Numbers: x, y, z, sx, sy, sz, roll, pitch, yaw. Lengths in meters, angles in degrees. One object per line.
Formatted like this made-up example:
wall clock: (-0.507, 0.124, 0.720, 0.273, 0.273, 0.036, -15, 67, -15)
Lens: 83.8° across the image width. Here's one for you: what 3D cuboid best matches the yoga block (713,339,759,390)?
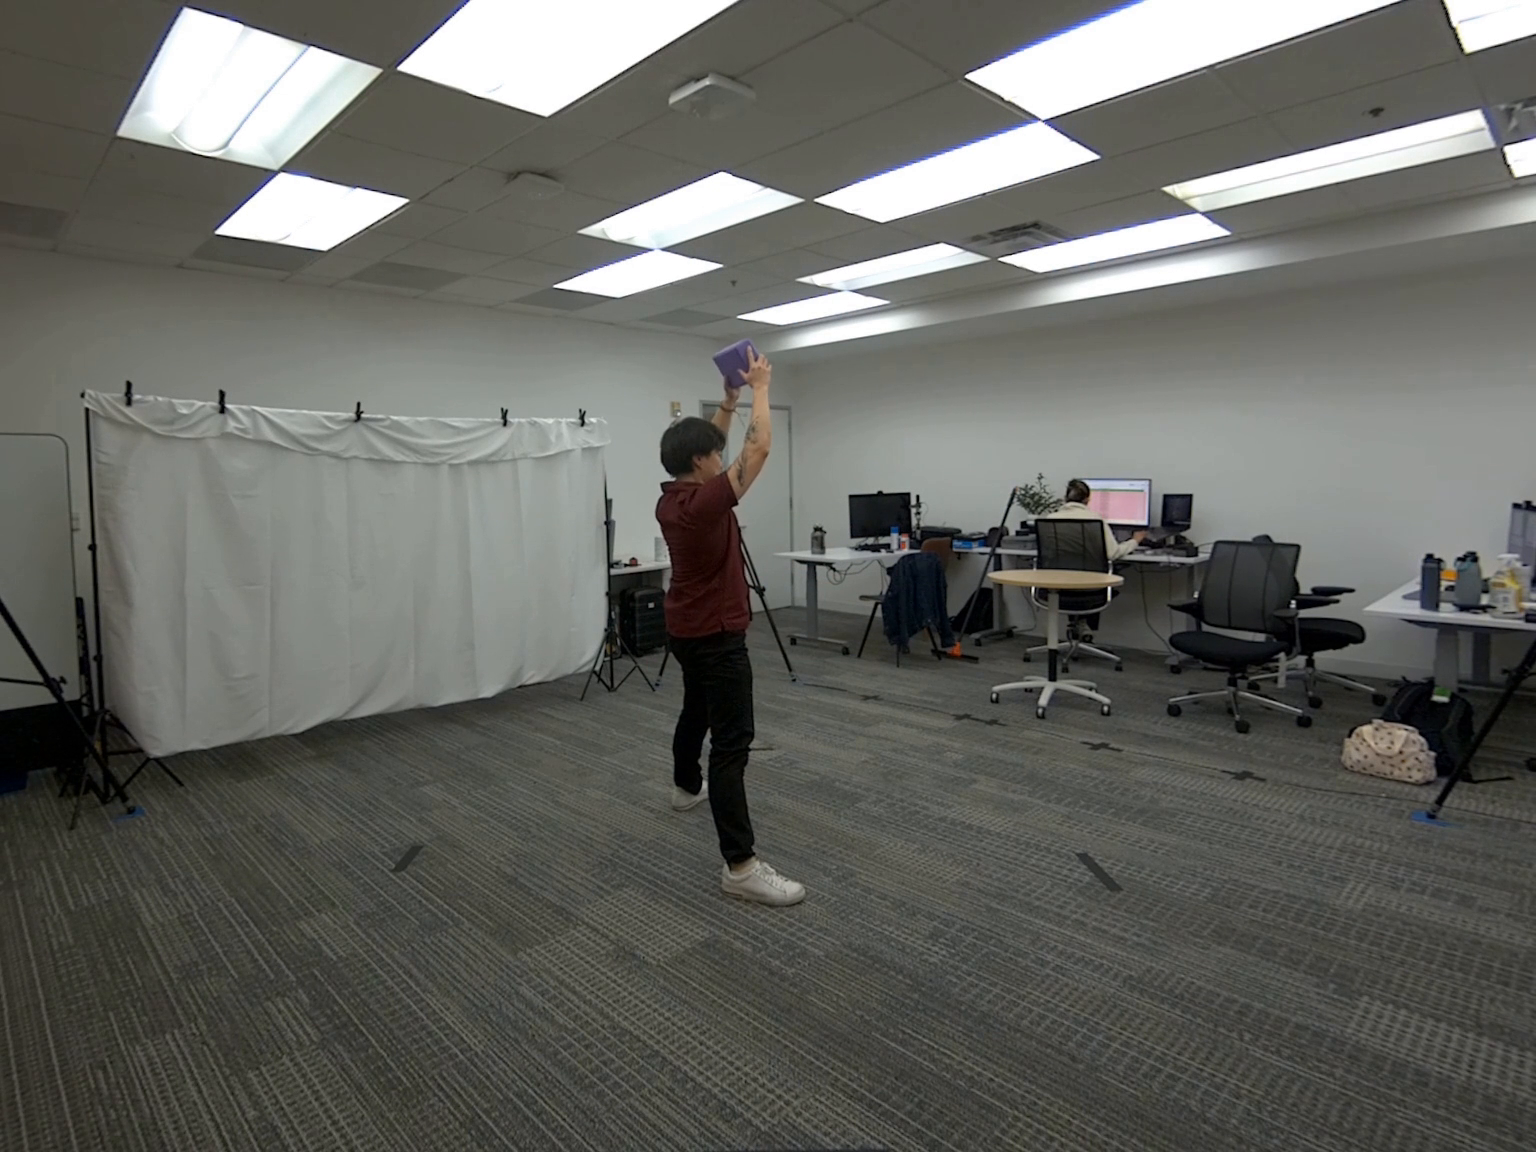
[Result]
yoga block: (-0.089, -0.794, 3.227, 0.076, 0.146, 0.234, -36, 15, -17)
